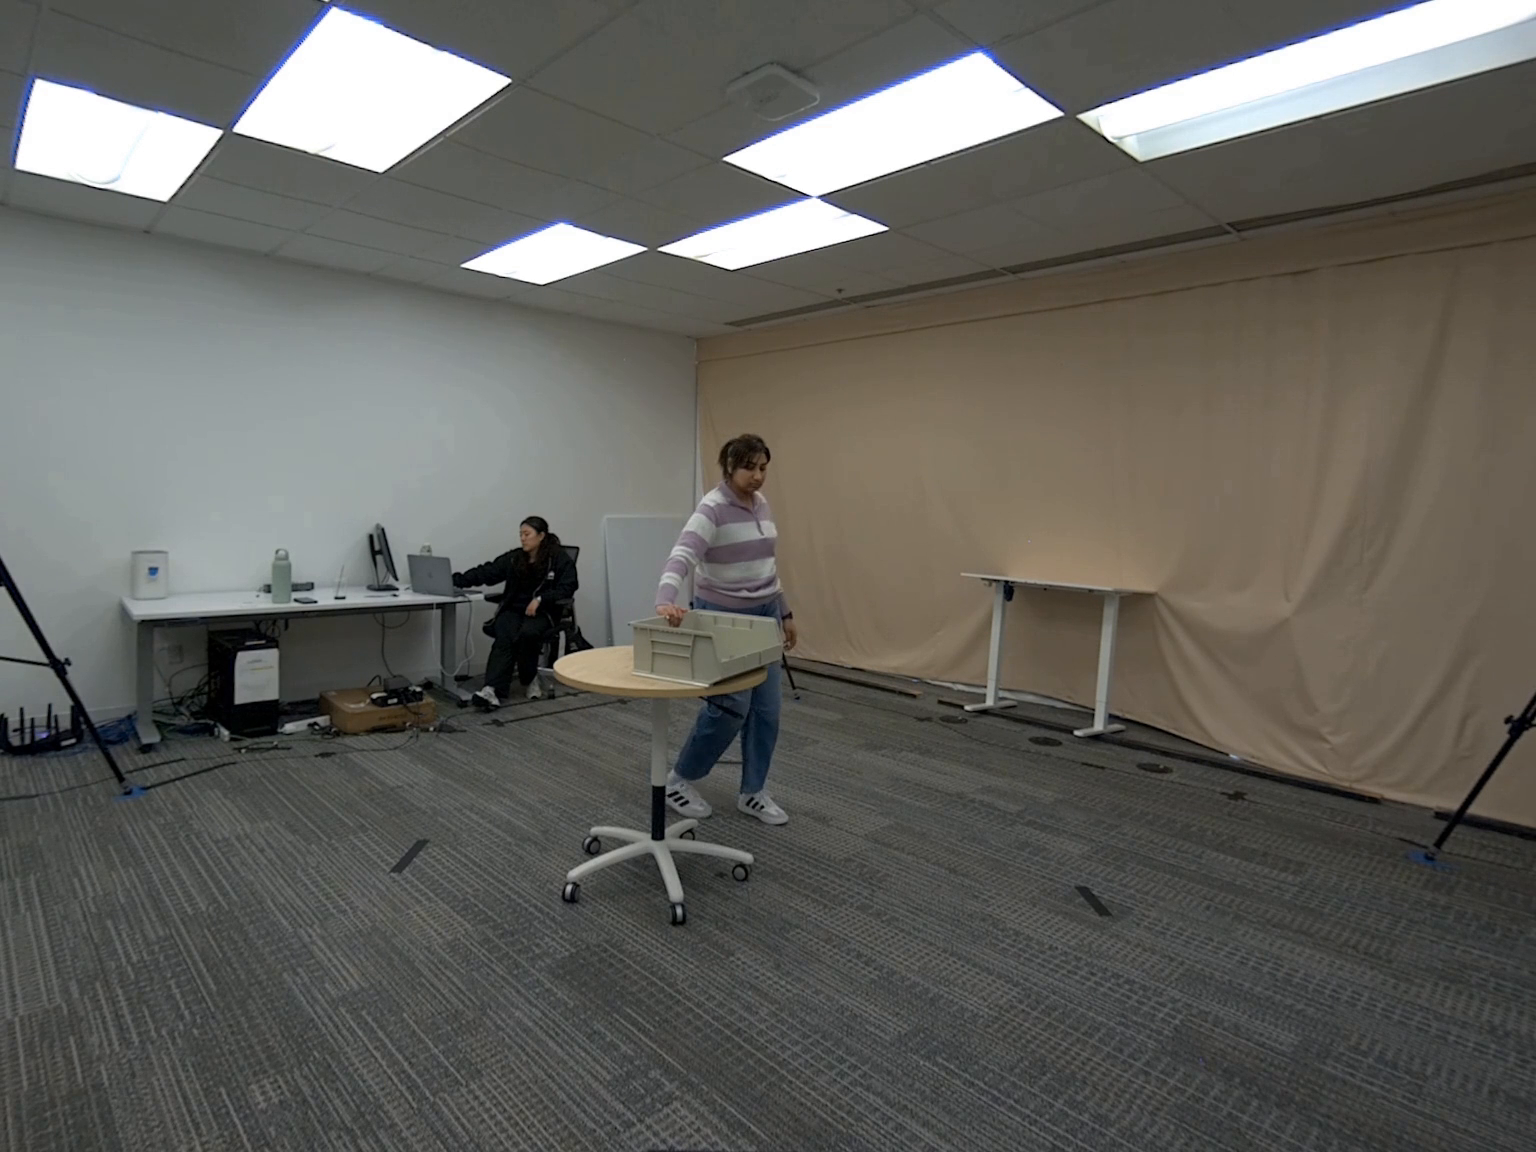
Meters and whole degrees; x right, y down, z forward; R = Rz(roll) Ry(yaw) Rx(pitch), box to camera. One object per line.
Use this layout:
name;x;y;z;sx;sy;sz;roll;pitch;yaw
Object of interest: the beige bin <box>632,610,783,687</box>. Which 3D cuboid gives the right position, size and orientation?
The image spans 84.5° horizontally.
beige bin;-0.219;0.248;2.930;0.385;0.188;0.415;3;6;28
